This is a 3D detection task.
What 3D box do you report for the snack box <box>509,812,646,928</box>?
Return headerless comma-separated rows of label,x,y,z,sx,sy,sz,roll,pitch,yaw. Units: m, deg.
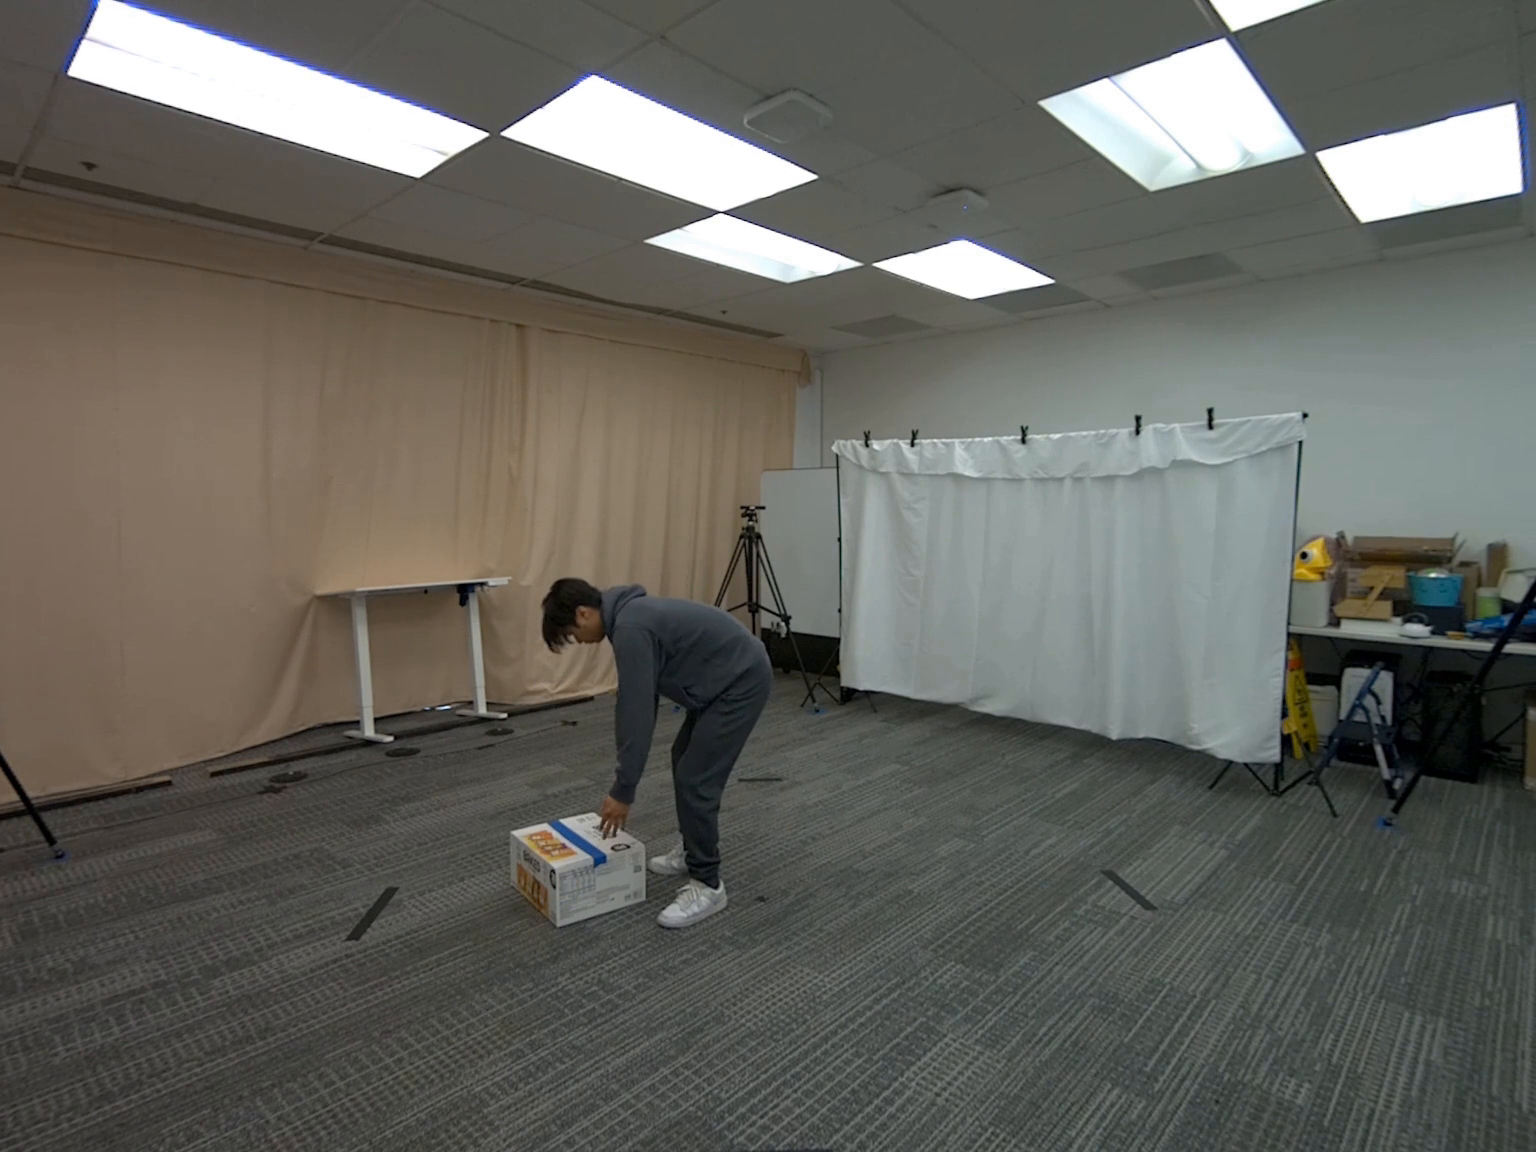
snack box,-0.688,1.040,3.032,0.330,0.205,0.418,-4,5,-37
